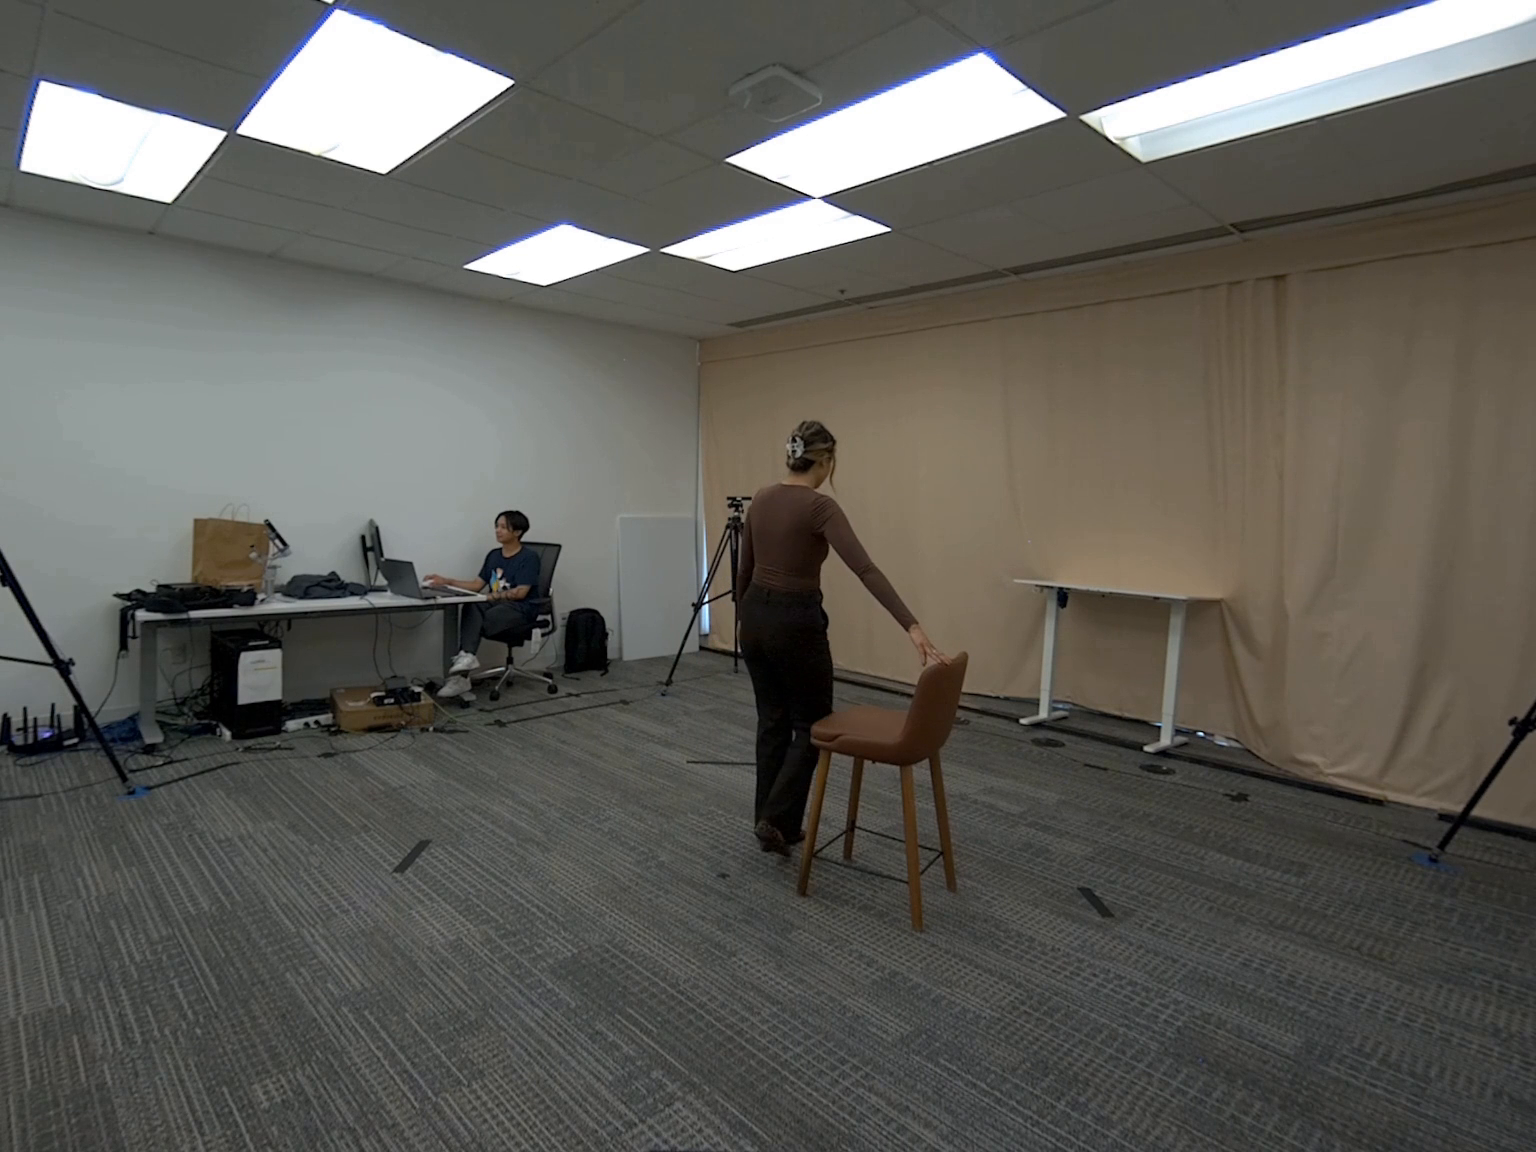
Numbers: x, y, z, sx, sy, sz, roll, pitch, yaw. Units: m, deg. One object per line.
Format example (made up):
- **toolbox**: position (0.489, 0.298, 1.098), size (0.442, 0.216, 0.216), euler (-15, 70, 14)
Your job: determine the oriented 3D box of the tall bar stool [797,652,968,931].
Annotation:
- **tall bar stool**: position (0.407, 0.694, 2.976), size (0.478, 0.887, 0.447), euler (5, 5, 32)
